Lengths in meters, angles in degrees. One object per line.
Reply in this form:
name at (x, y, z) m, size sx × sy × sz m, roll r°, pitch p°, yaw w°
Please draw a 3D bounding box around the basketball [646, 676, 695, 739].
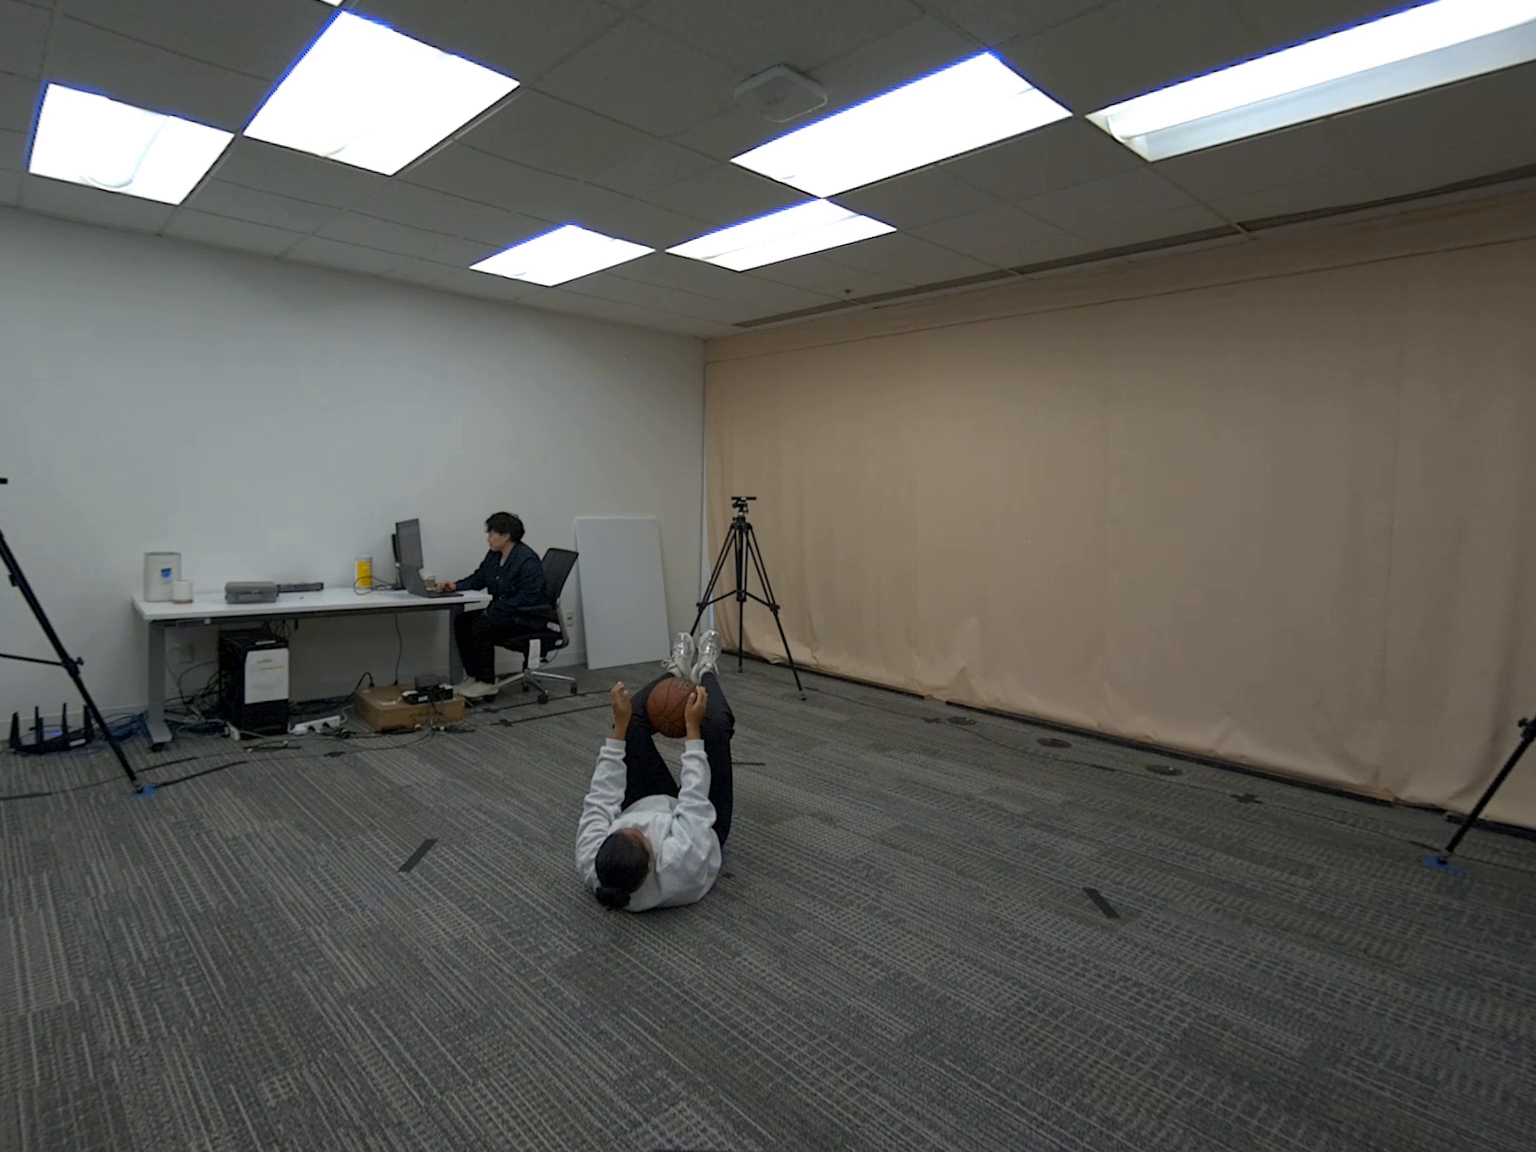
basketball at (-0.369, 0.522, 3.335) m, size 0.236 × 0.235 × 0.237 m, roll 1°, pitch 5°, yaw -1°
